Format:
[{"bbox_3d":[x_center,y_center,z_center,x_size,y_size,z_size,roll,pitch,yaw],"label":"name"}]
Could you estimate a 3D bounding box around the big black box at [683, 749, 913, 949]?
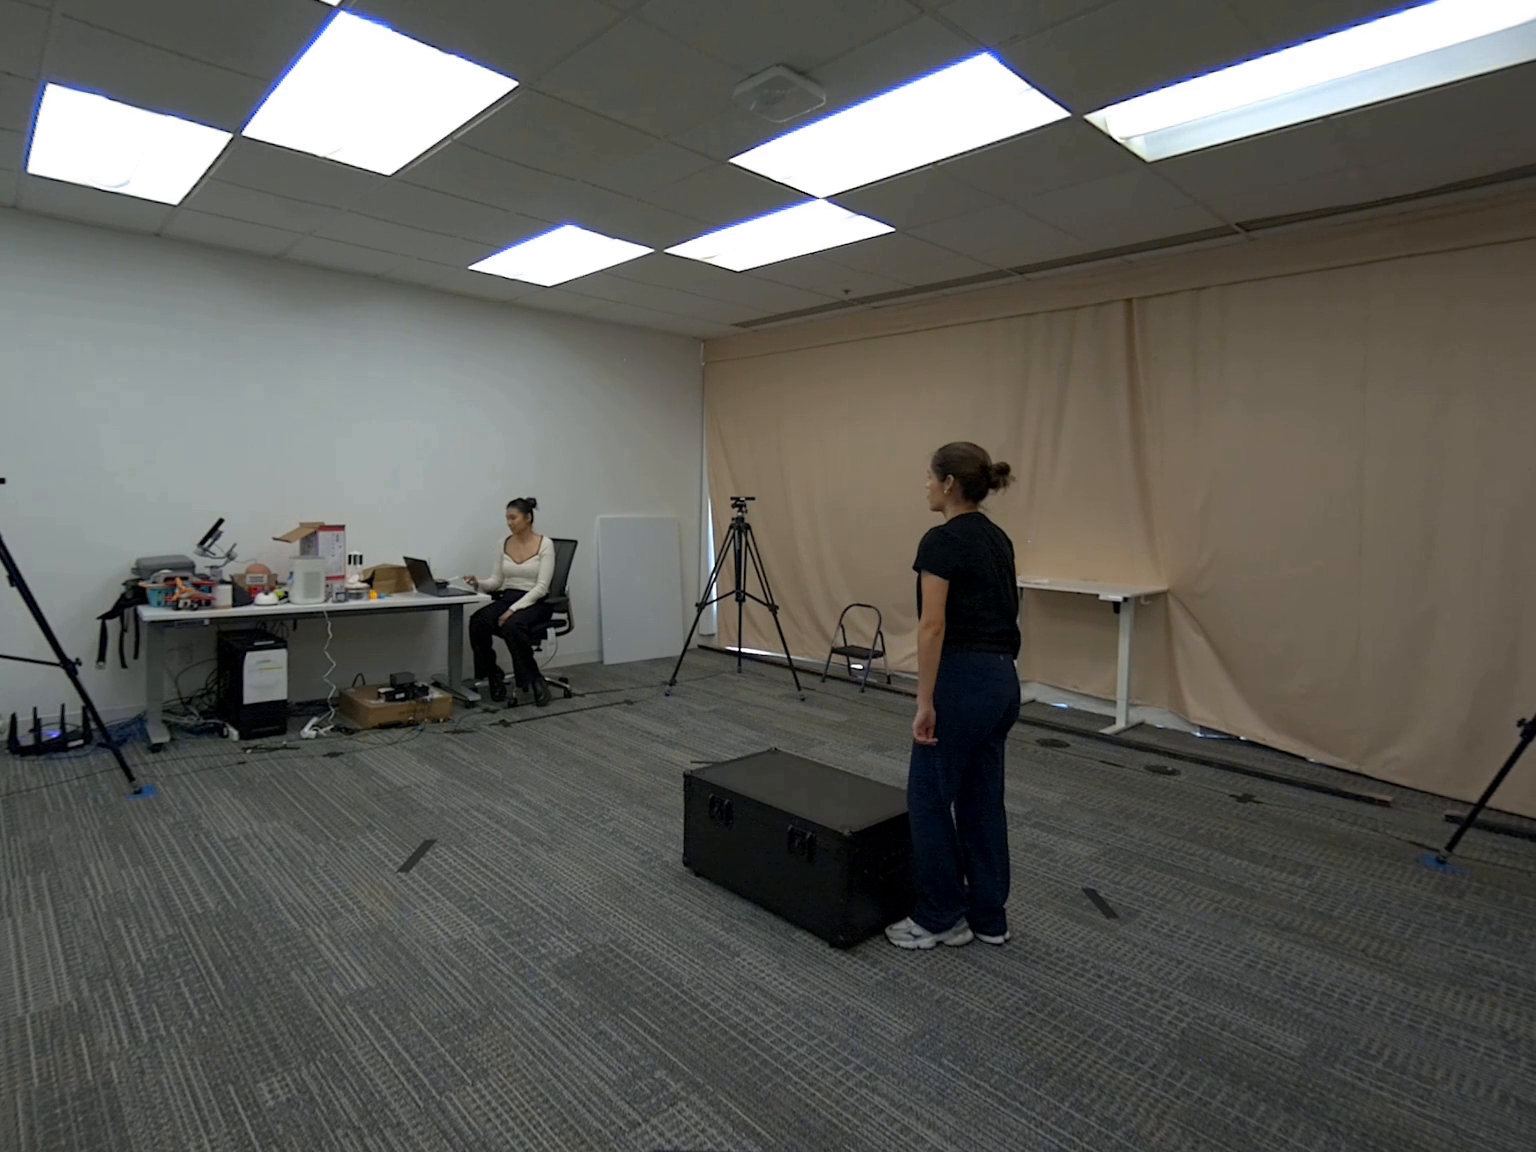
[{"bbox_3d":[0.098,0.914,3.019,0.509,0.395,0.883,-3,6,-44],"label":"big black box"}]
